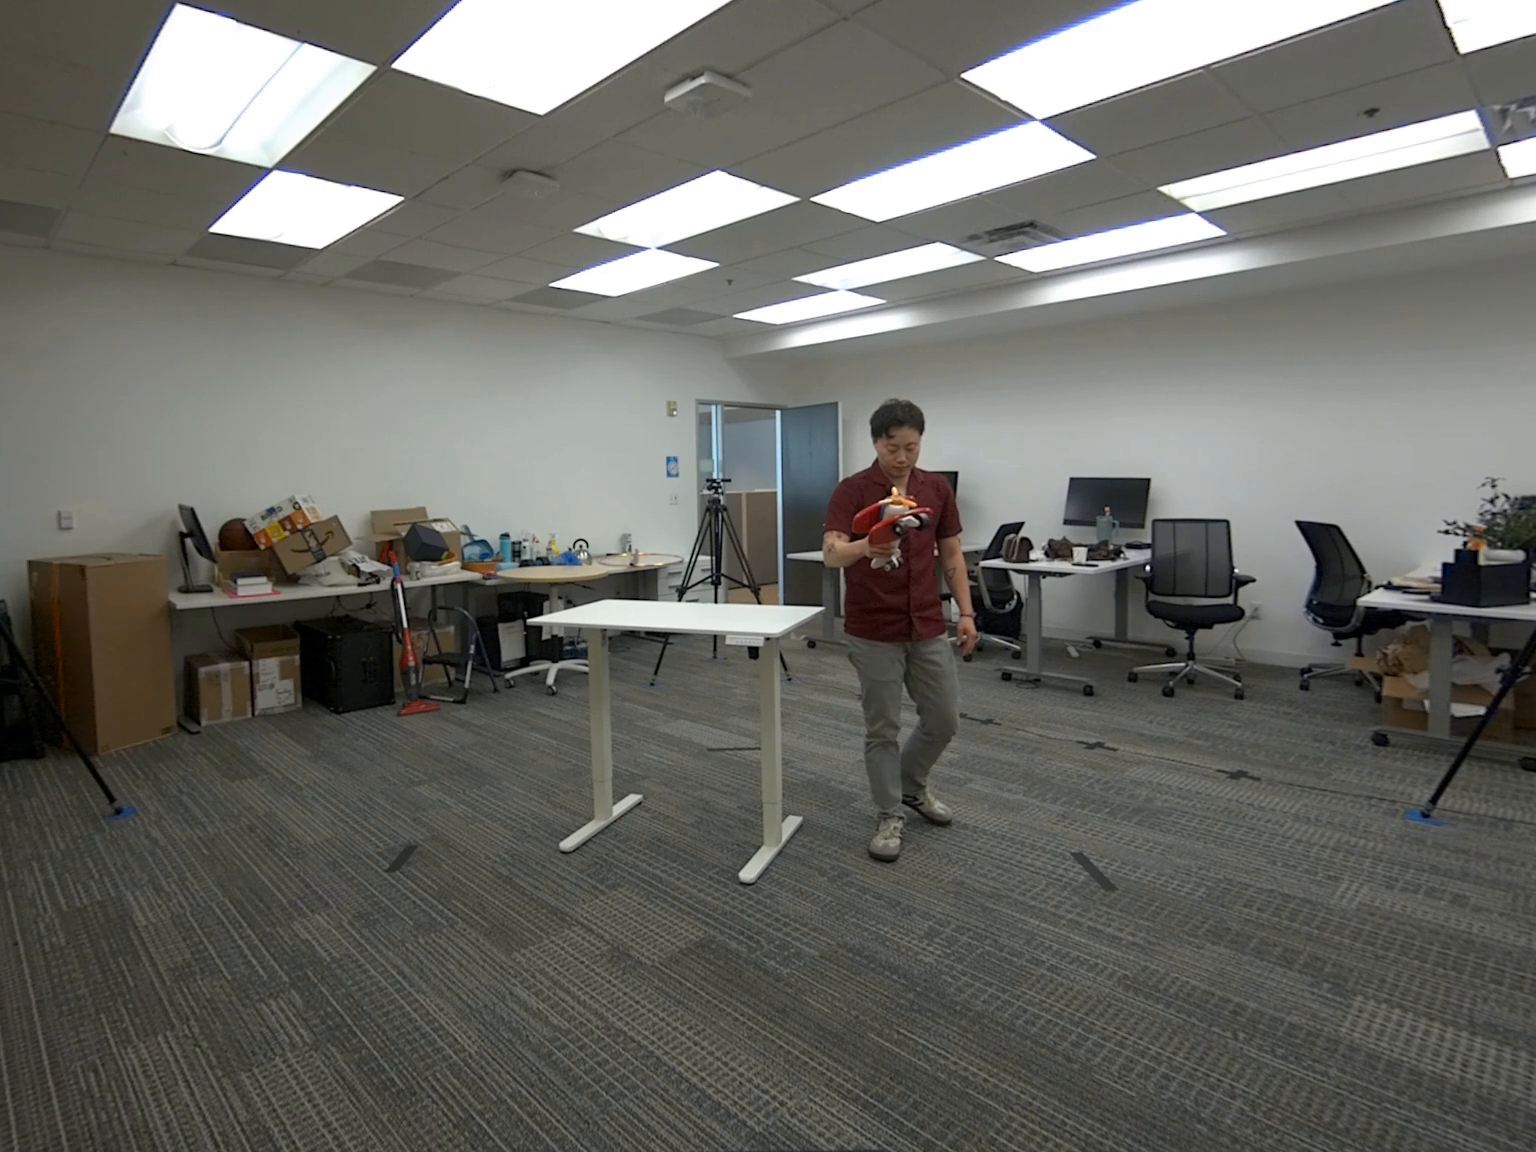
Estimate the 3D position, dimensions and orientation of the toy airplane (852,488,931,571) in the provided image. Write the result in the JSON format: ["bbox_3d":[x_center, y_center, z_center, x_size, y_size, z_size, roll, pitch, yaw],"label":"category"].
[{"bbox_3d":[0.388,-0.133,2.730,0.243,0.258,0.162,5,41,-49],"label":"toy airplane"}]
